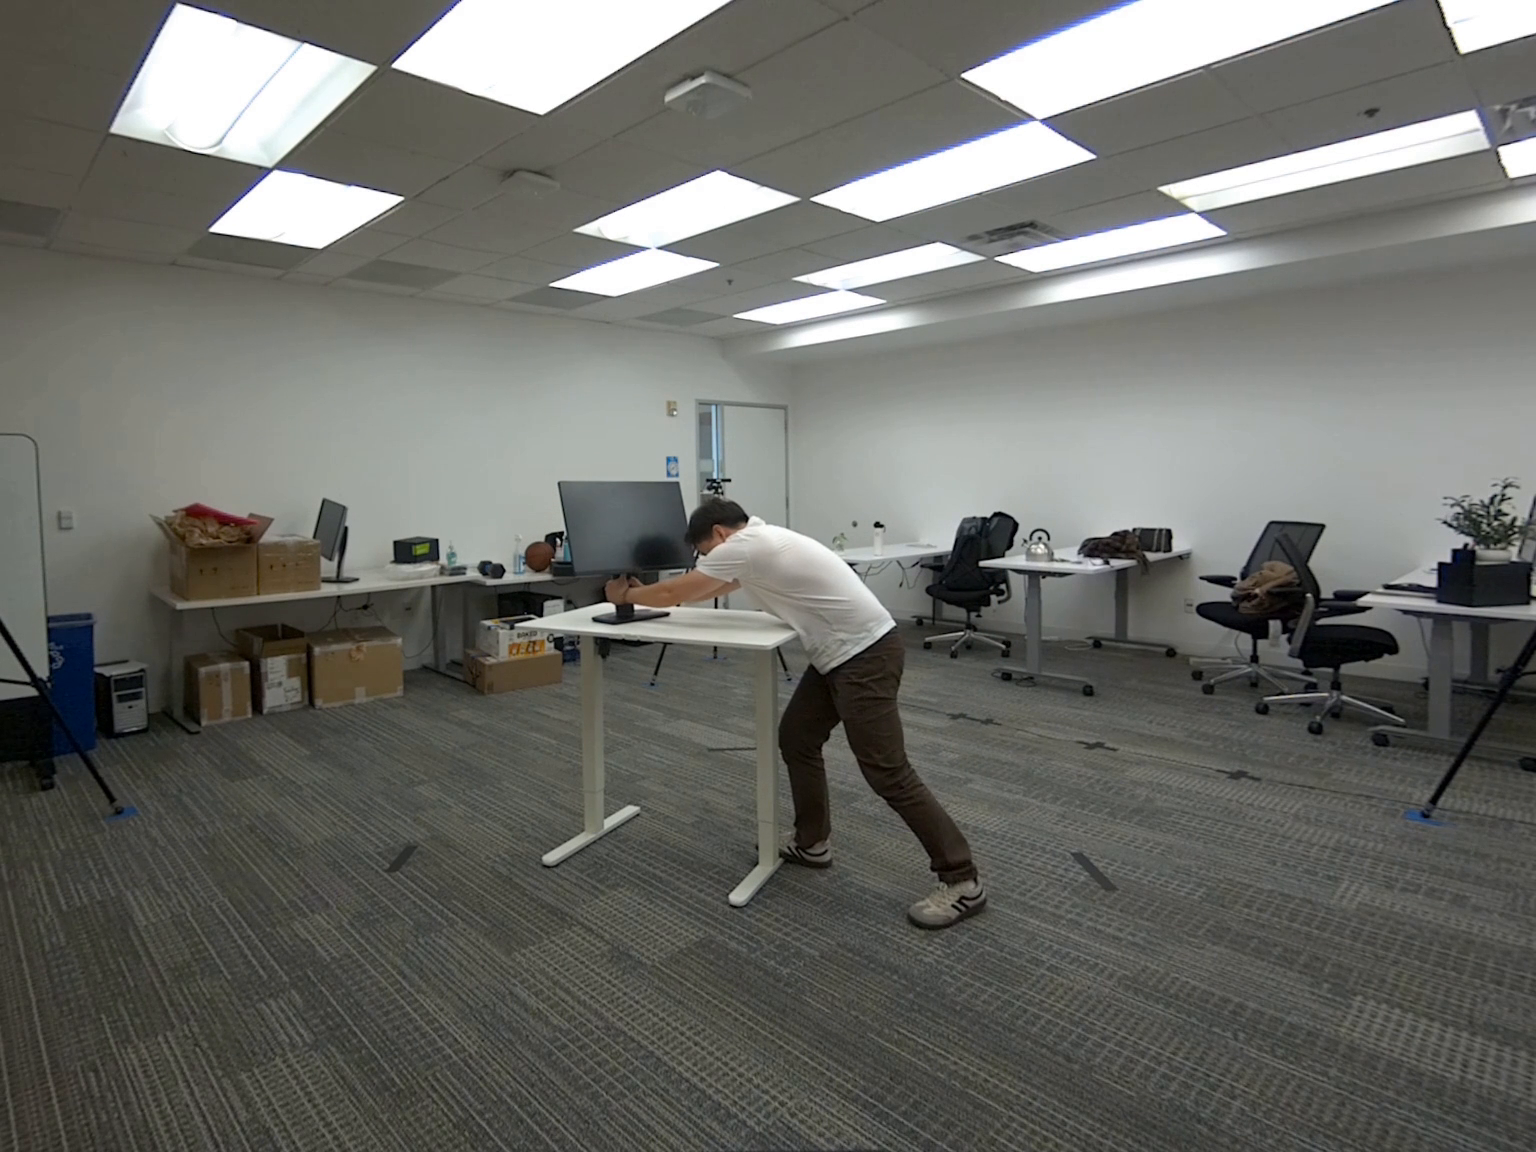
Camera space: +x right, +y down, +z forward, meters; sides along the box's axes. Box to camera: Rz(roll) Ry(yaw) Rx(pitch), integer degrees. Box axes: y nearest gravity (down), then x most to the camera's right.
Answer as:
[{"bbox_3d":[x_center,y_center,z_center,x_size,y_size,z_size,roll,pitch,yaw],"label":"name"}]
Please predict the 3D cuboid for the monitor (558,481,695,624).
[{"bbox_3d":[-0.532,-0.097,3.206,0.524,0.523,0.192,-3,0,-44],"label":"monitor"}]
